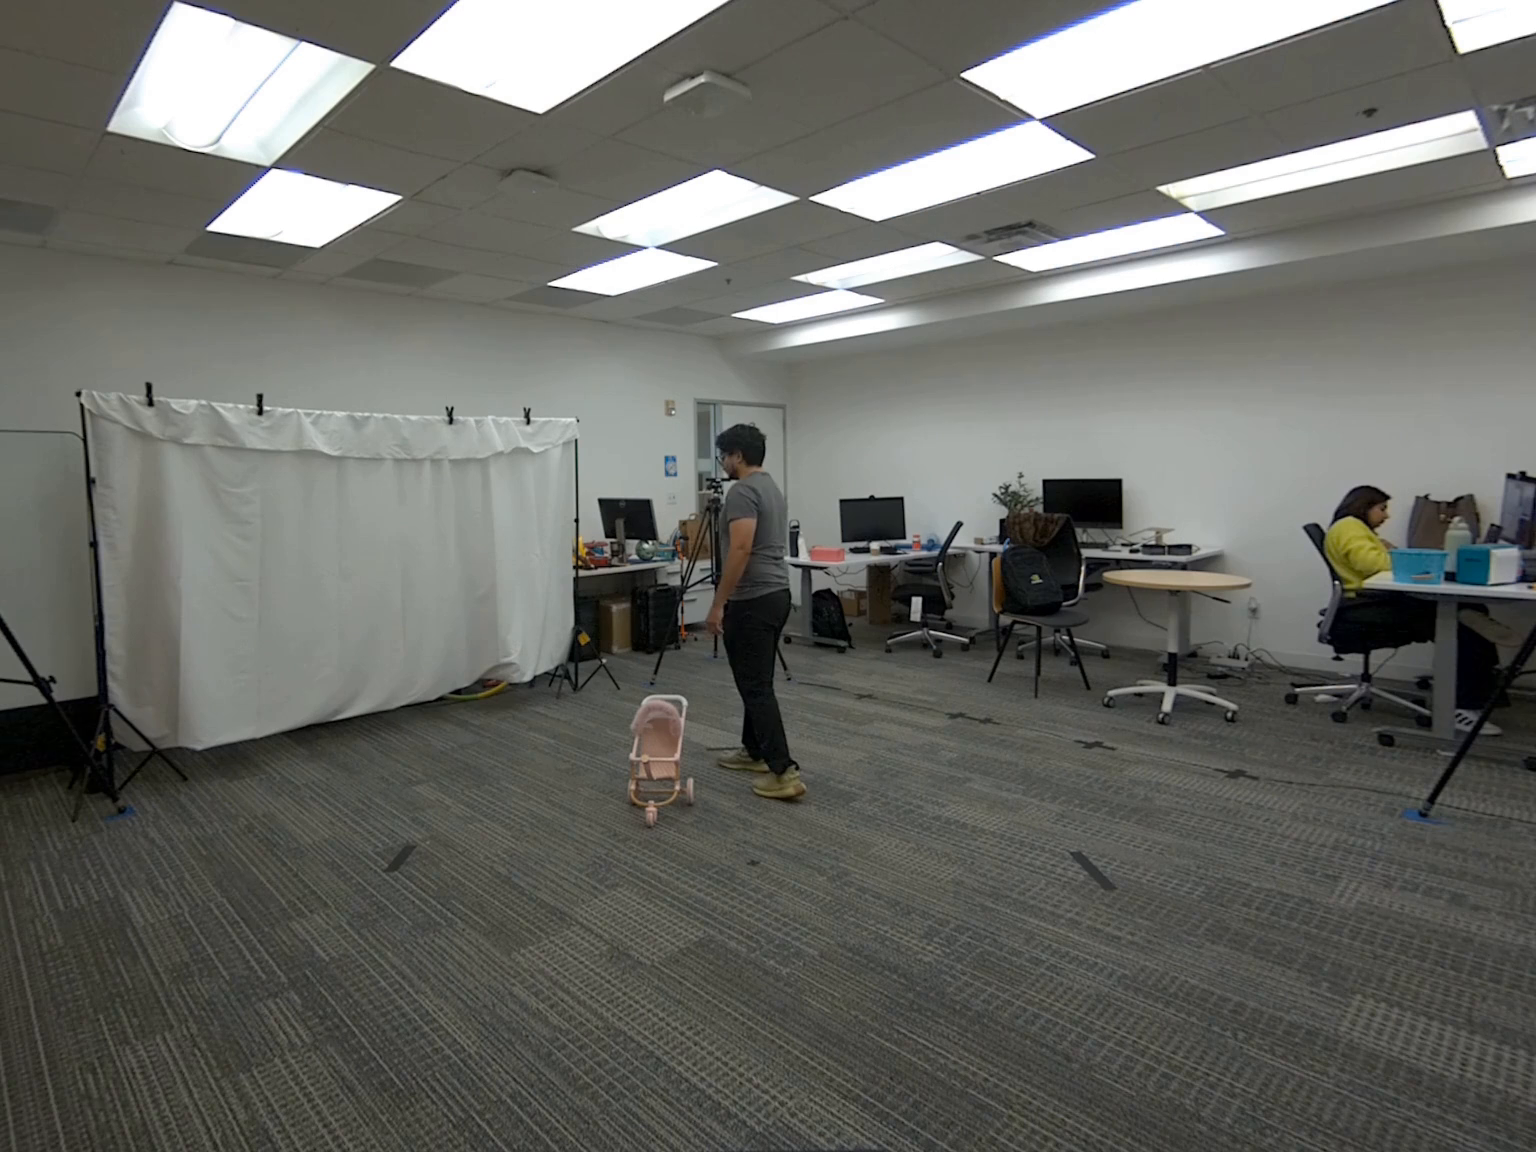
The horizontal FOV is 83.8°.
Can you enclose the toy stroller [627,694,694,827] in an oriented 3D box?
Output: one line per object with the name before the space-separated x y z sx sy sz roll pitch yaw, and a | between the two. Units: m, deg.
toy stroller | -0.469 0.768 3.623 0.284 0.541 0.335 -1 -12 7
